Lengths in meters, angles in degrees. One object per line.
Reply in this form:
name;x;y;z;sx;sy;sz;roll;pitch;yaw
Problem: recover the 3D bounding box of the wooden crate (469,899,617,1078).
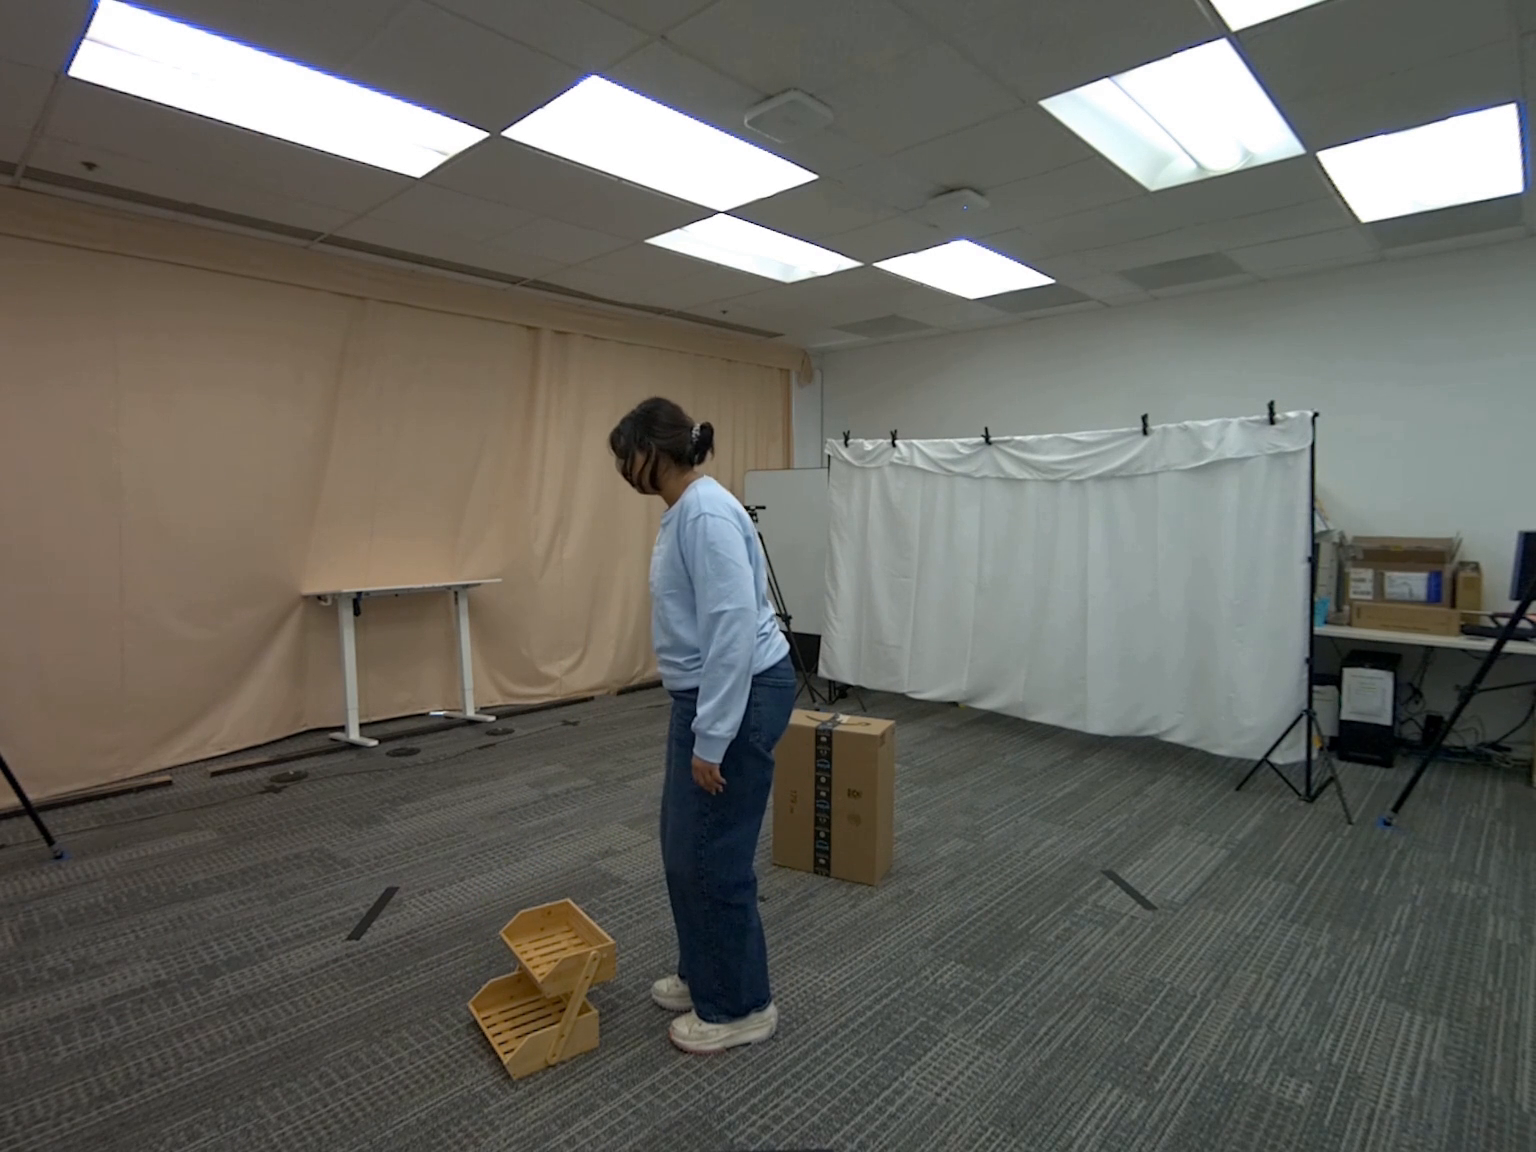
wooden crate;-0.606;1.084;2.229;0.293;0.273;0.335;-2;4;-36
